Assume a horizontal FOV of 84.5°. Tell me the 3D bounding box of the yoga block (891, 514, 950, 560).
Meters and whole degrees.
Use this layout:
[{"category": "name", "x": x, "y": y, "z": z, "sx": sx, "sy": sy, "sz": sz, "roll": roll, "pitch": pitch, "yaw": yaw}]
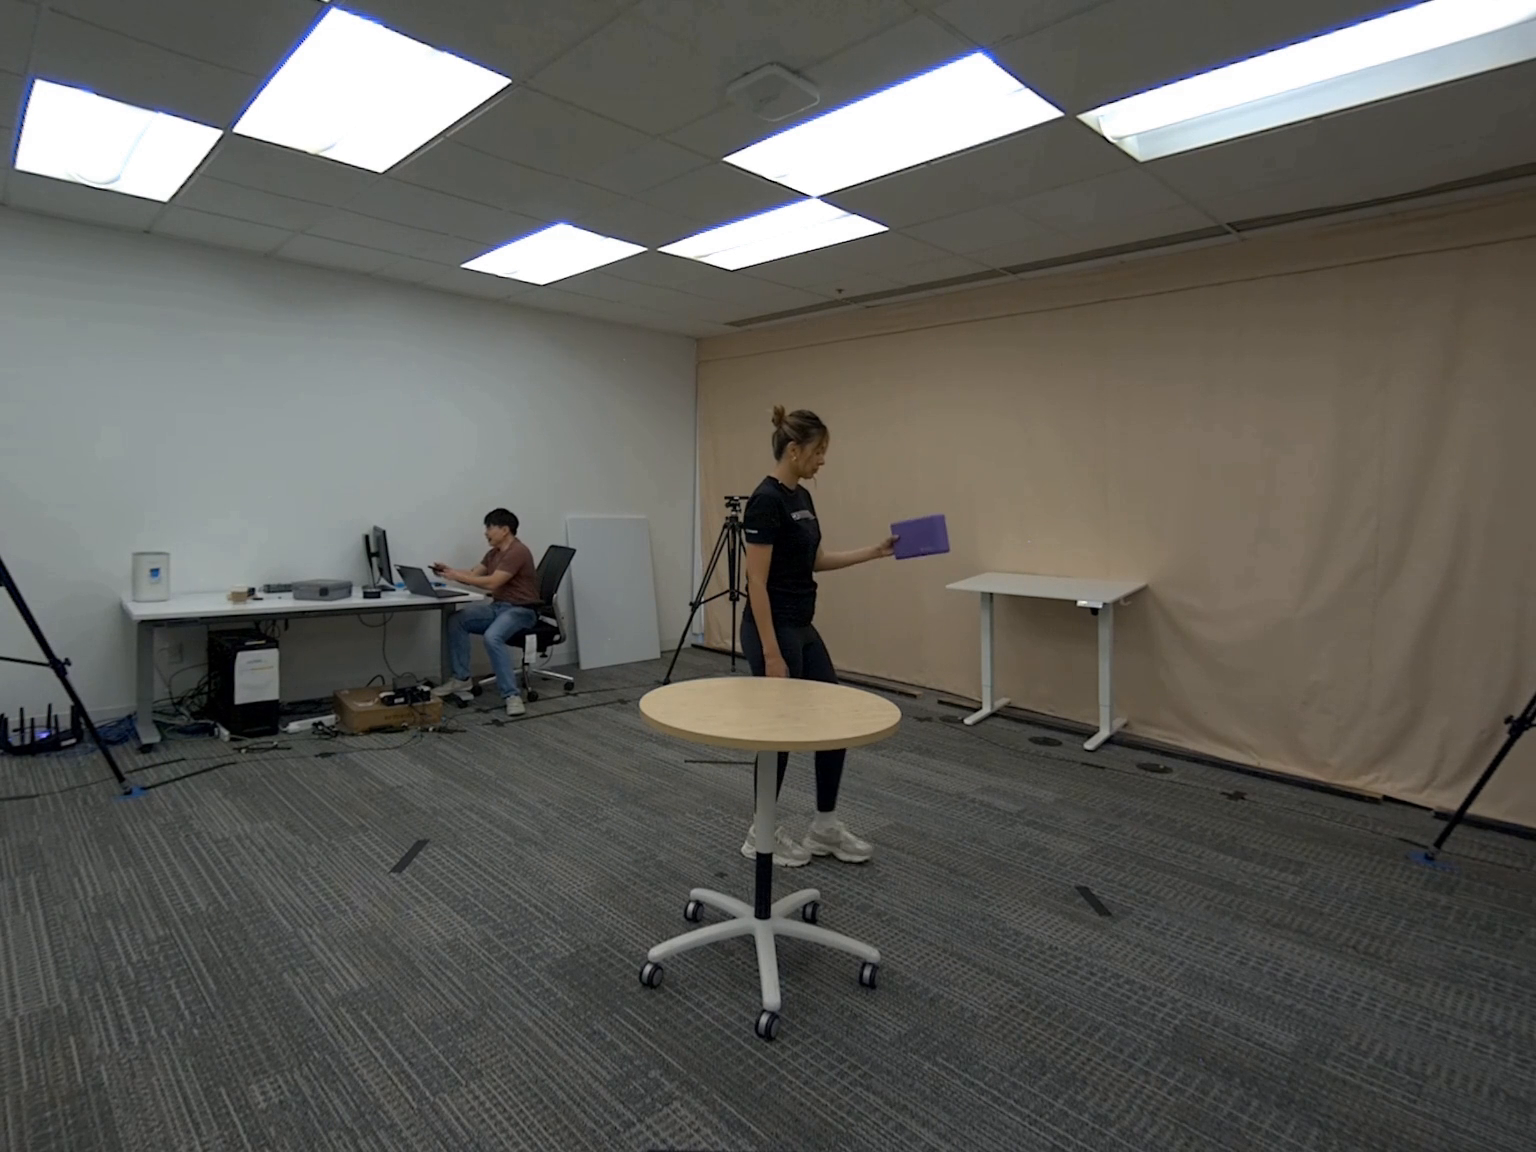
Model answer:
[{"category": "yoga block", "x": 0.576, "y": -0.145, "z": 3.225, "sx": 0.075, "sy": 0.149, "sz": 0.233, "roll": -3, "pitch": -5, "yaw": -37}]
